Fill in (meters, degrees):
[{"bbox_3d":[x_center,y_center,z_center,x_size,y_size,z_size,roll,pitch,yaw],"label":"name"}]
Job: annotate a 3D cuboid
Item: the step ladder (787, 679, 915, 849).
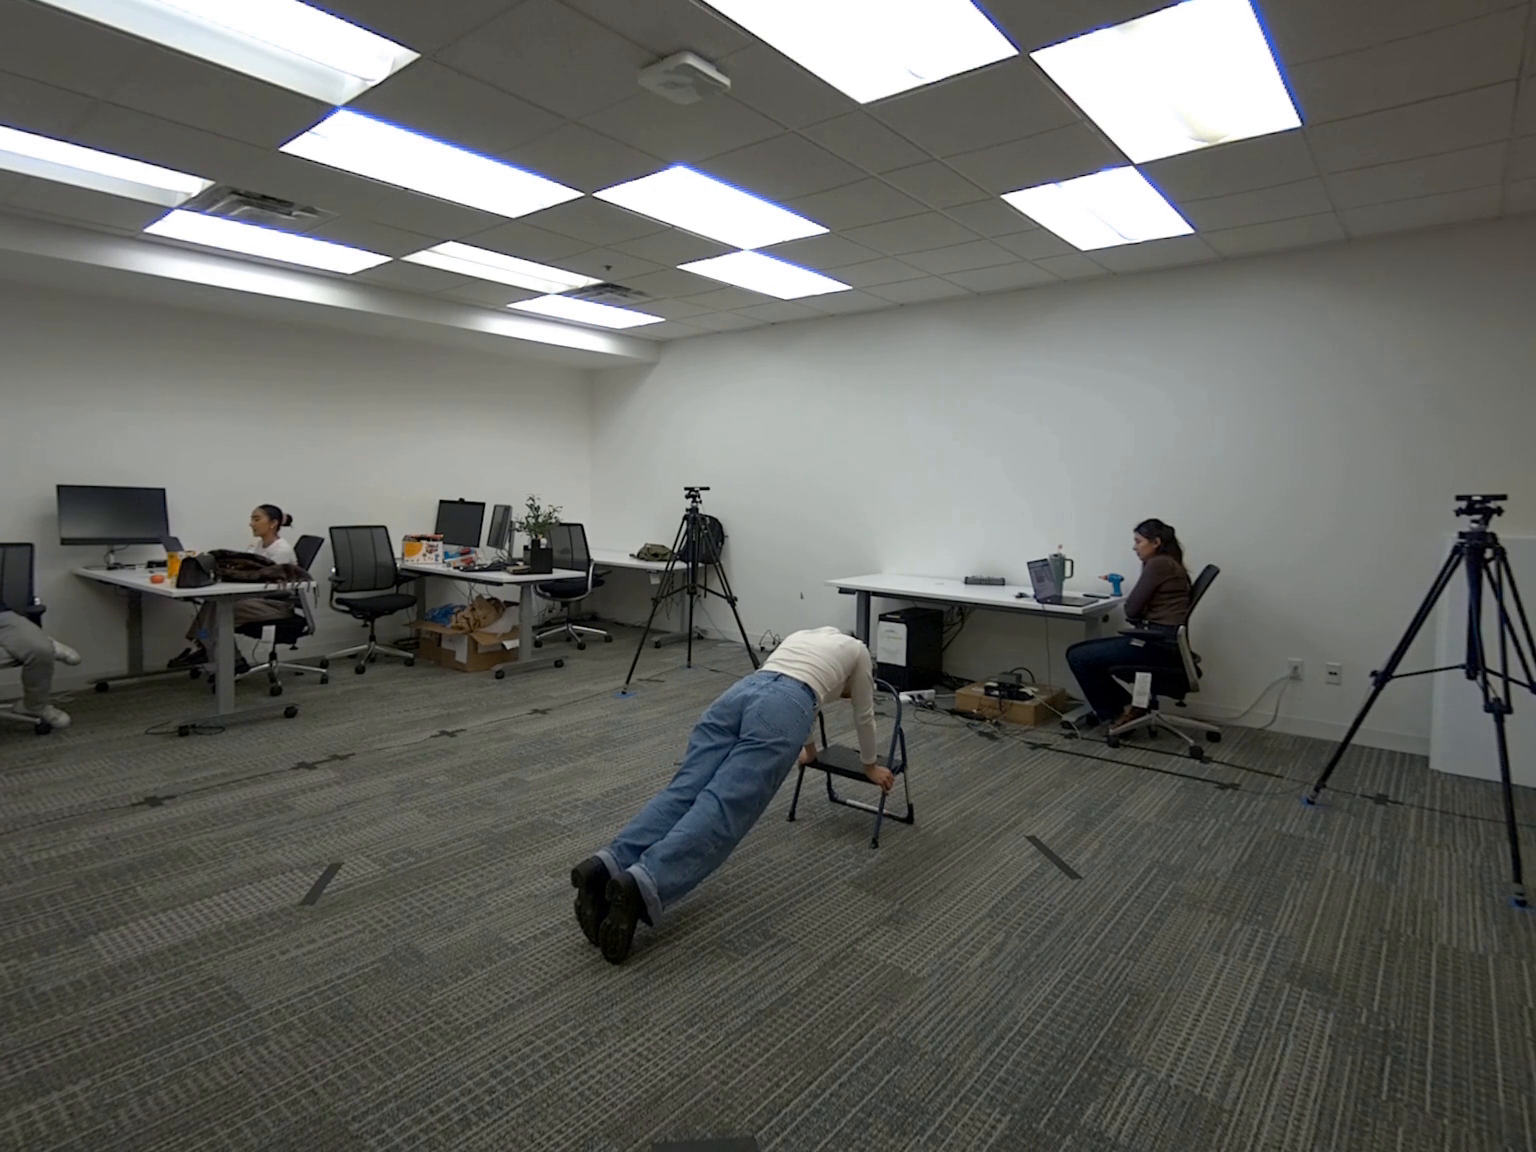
[{"bbox_3d":[0.351,0.730,3.563,0.445,0.604,0.339,4,4,38],"label":"step ladder"}]
